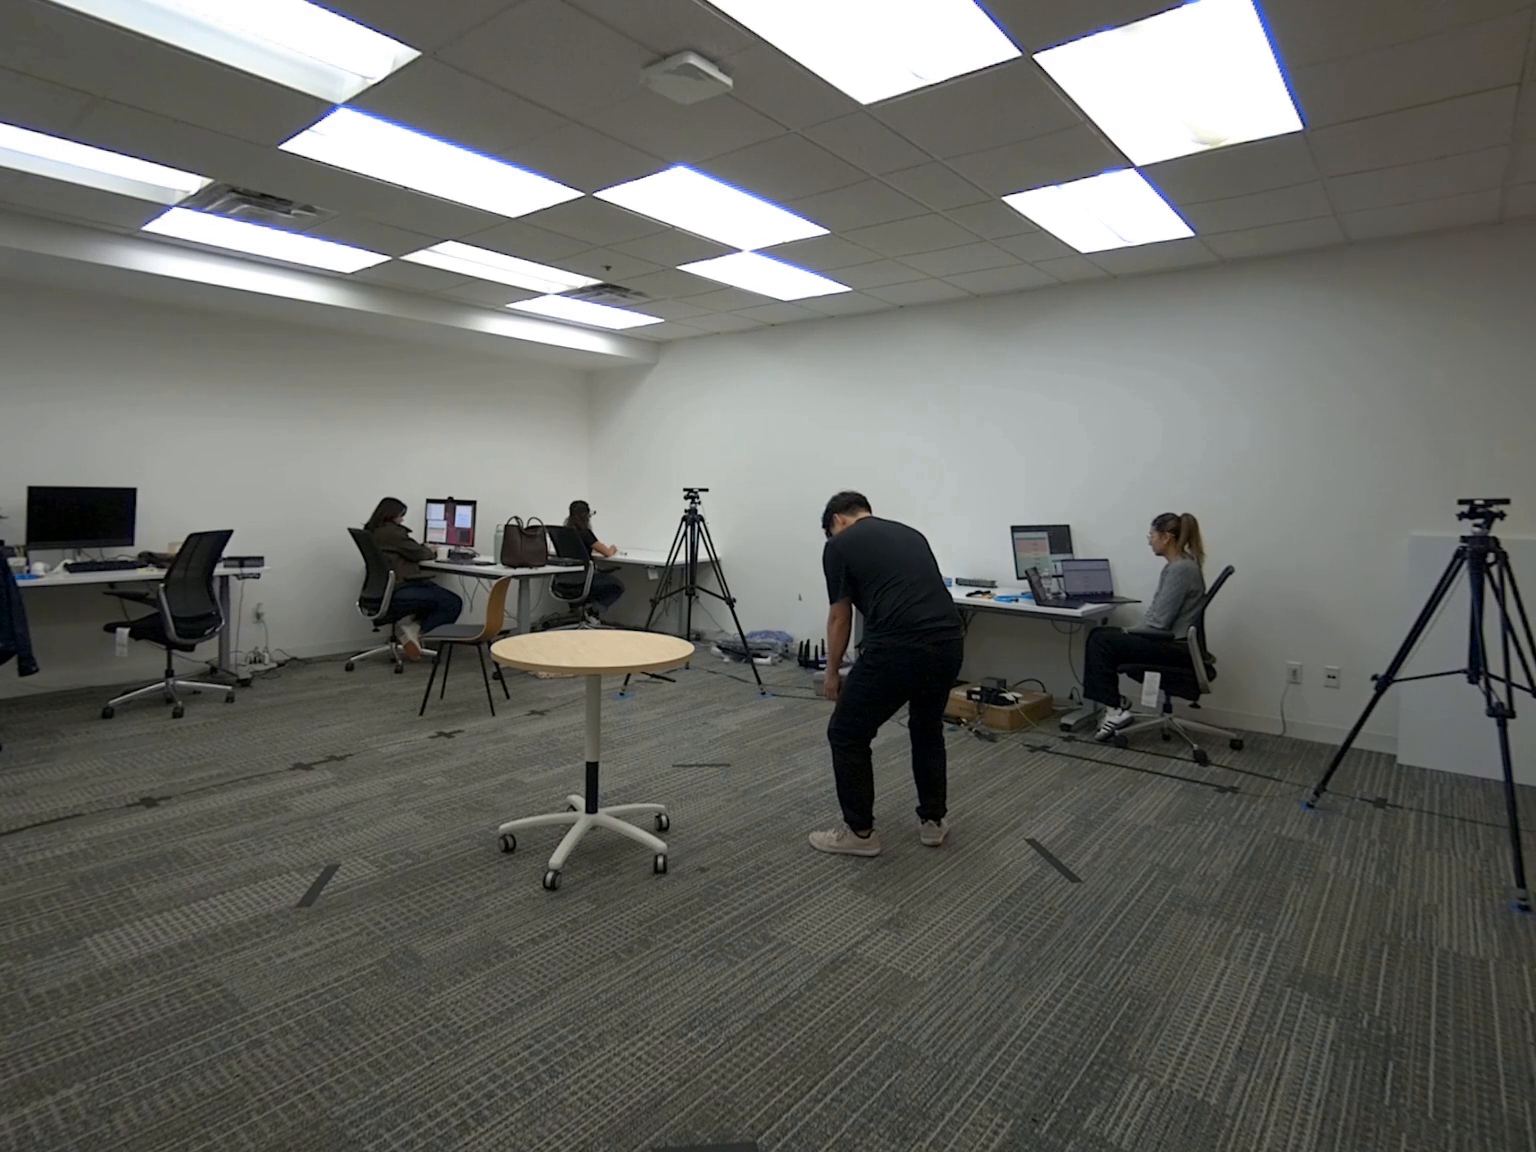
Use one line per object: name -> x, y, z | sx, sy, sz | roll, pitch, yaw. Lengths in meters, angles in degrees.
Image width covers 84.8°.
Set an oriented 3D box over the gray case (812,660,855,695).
gray case -> 0.346, 0.448, 3.583 | 0.249, 0.105, 0.267 | 1, -4, -36
